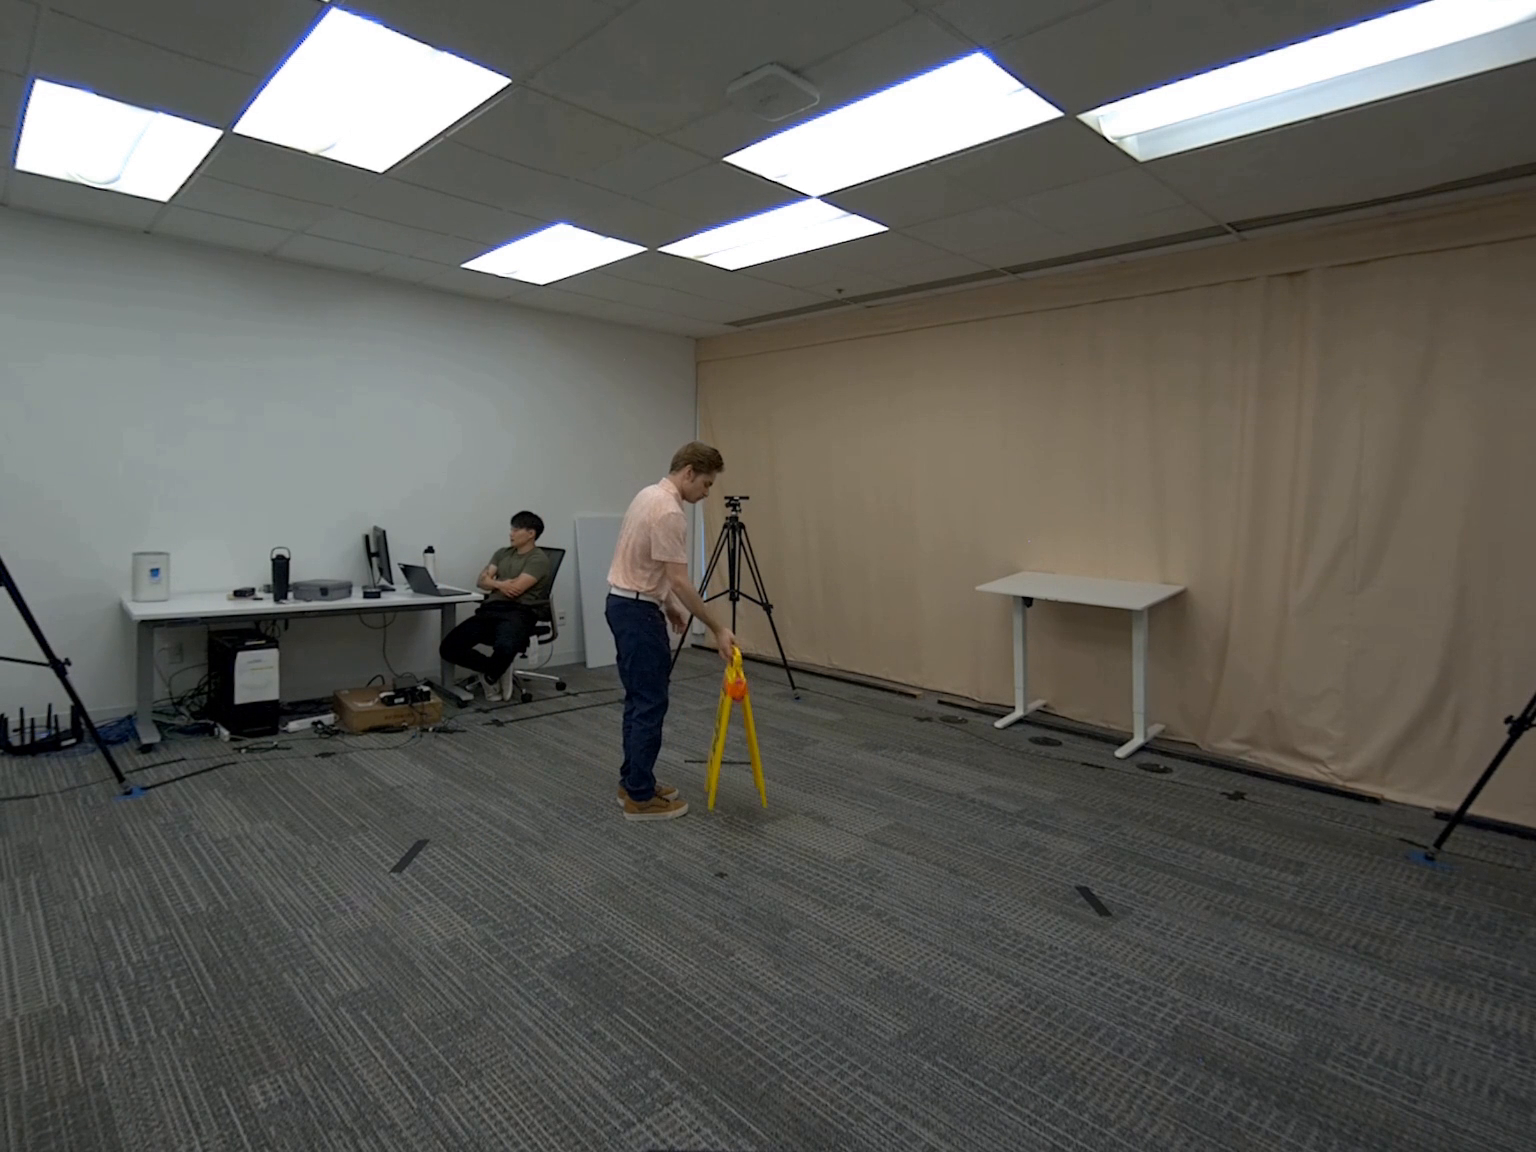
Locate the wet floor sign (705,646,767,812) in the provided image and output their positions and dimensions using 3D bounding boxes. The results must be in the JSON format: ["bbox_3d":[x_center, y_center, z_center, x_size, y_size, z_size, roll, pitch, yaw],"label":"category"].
[{"bbox_3d":[-0.146,0.633,3.599,0.288,0.642,0.285,0,8,-7],"label":"wet floor sign"}]
